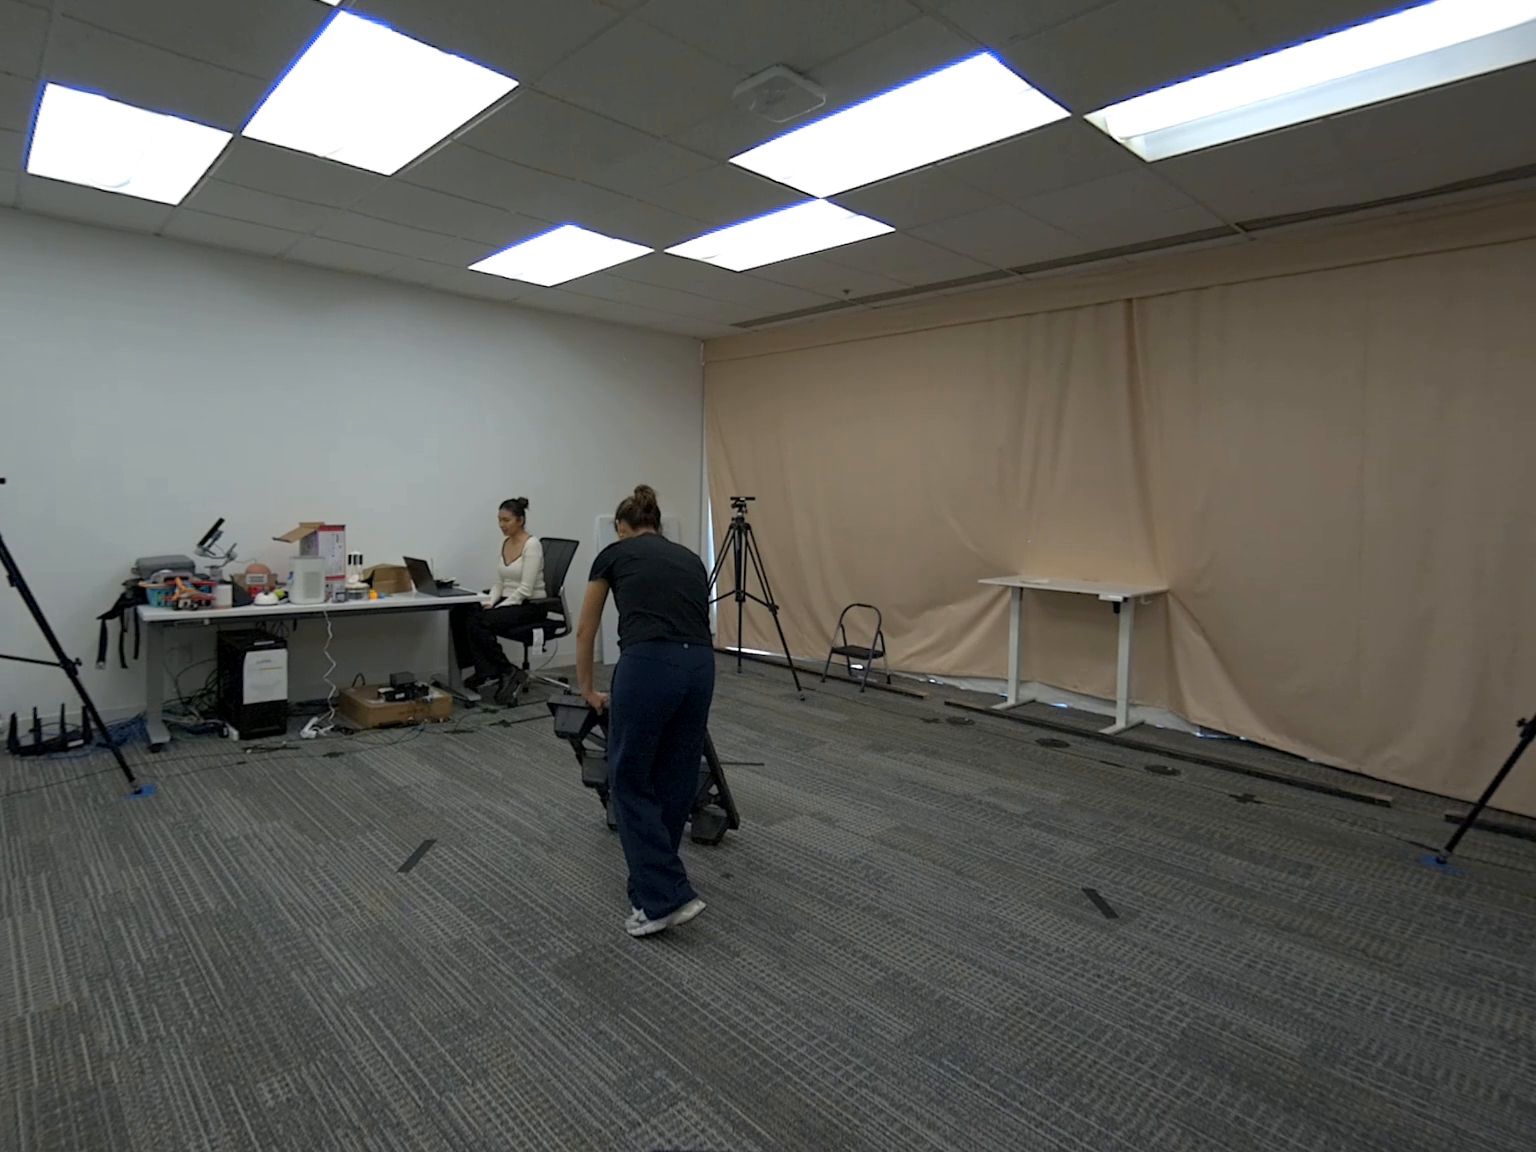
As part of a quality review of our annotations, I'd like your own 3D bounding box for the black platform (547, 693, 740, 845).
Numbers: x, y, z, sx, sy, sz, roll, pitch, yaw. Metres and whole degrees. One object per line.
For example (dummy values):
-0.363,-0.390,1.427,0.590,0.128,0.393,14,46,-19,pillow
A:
-0.476,0.775,3.220,0.613,0.784,0.145,3,45,16,black platform
